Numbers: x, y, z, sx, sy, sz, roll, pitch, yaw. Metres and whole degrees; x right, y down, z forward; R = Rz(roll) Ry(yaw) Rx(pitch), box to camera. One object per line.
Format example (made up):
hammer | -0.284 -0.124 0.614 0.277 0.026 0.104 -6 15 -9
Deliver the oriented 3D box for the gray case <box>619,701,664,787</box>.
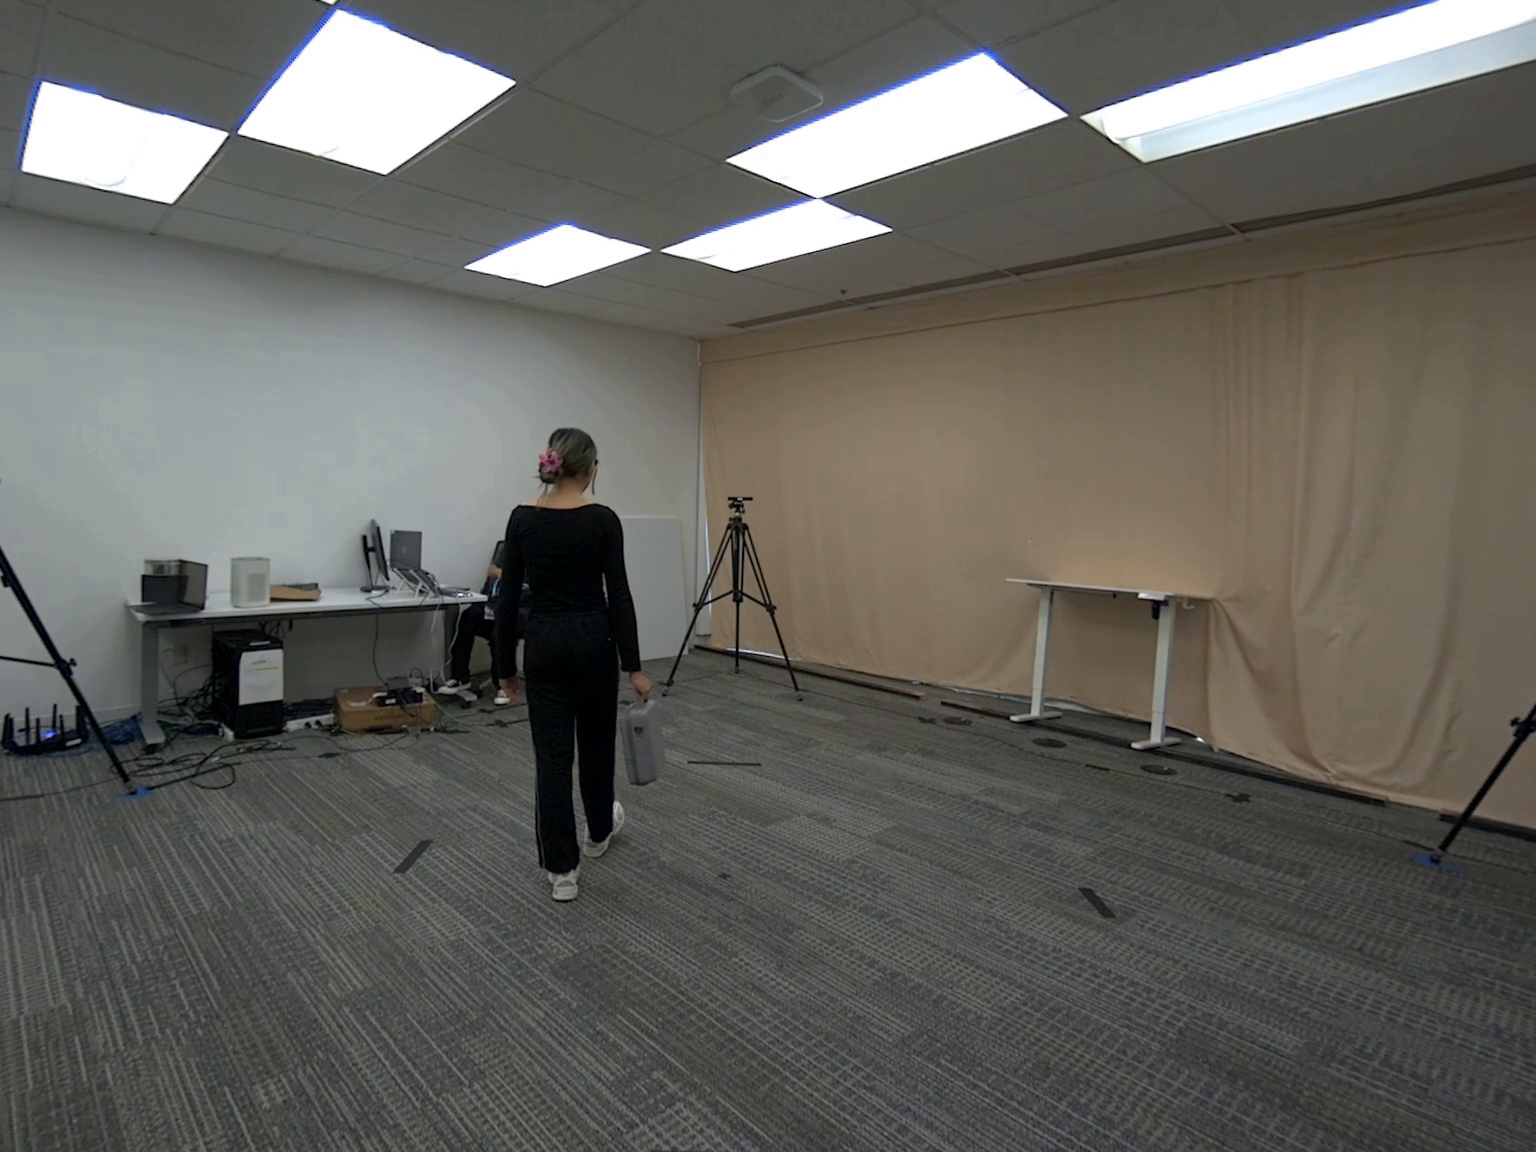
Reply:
gray case | -0.455 0.578 2.976 0.105 0.260 0.256 -3 2 3
